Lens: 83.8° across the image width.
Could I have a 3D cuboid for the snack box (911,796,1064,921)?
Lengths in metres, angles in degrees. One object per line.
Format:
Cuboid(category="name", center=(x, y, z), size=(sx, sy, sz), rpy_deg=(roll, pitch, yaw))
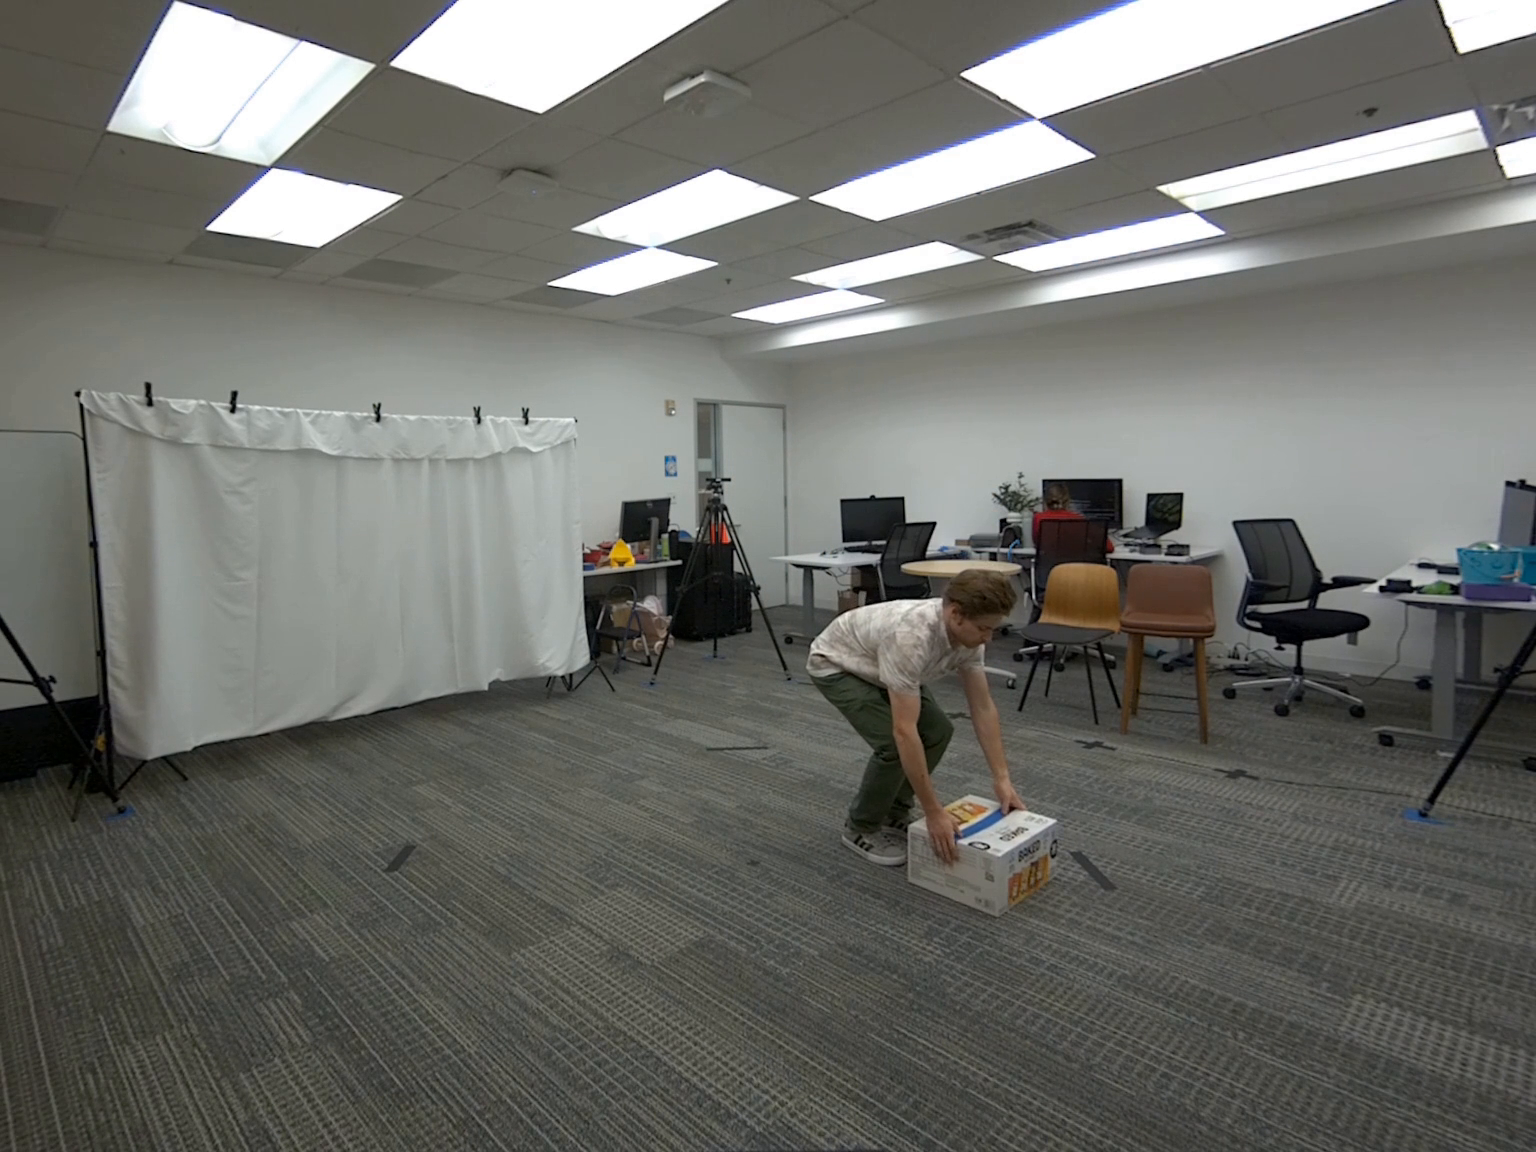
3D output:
Cuboid(category="snack box", center=(0.753, 0.949, 2.939), size=(0.394, 0.205, 0.351), rpy_deg=(-6, 7, -44))
